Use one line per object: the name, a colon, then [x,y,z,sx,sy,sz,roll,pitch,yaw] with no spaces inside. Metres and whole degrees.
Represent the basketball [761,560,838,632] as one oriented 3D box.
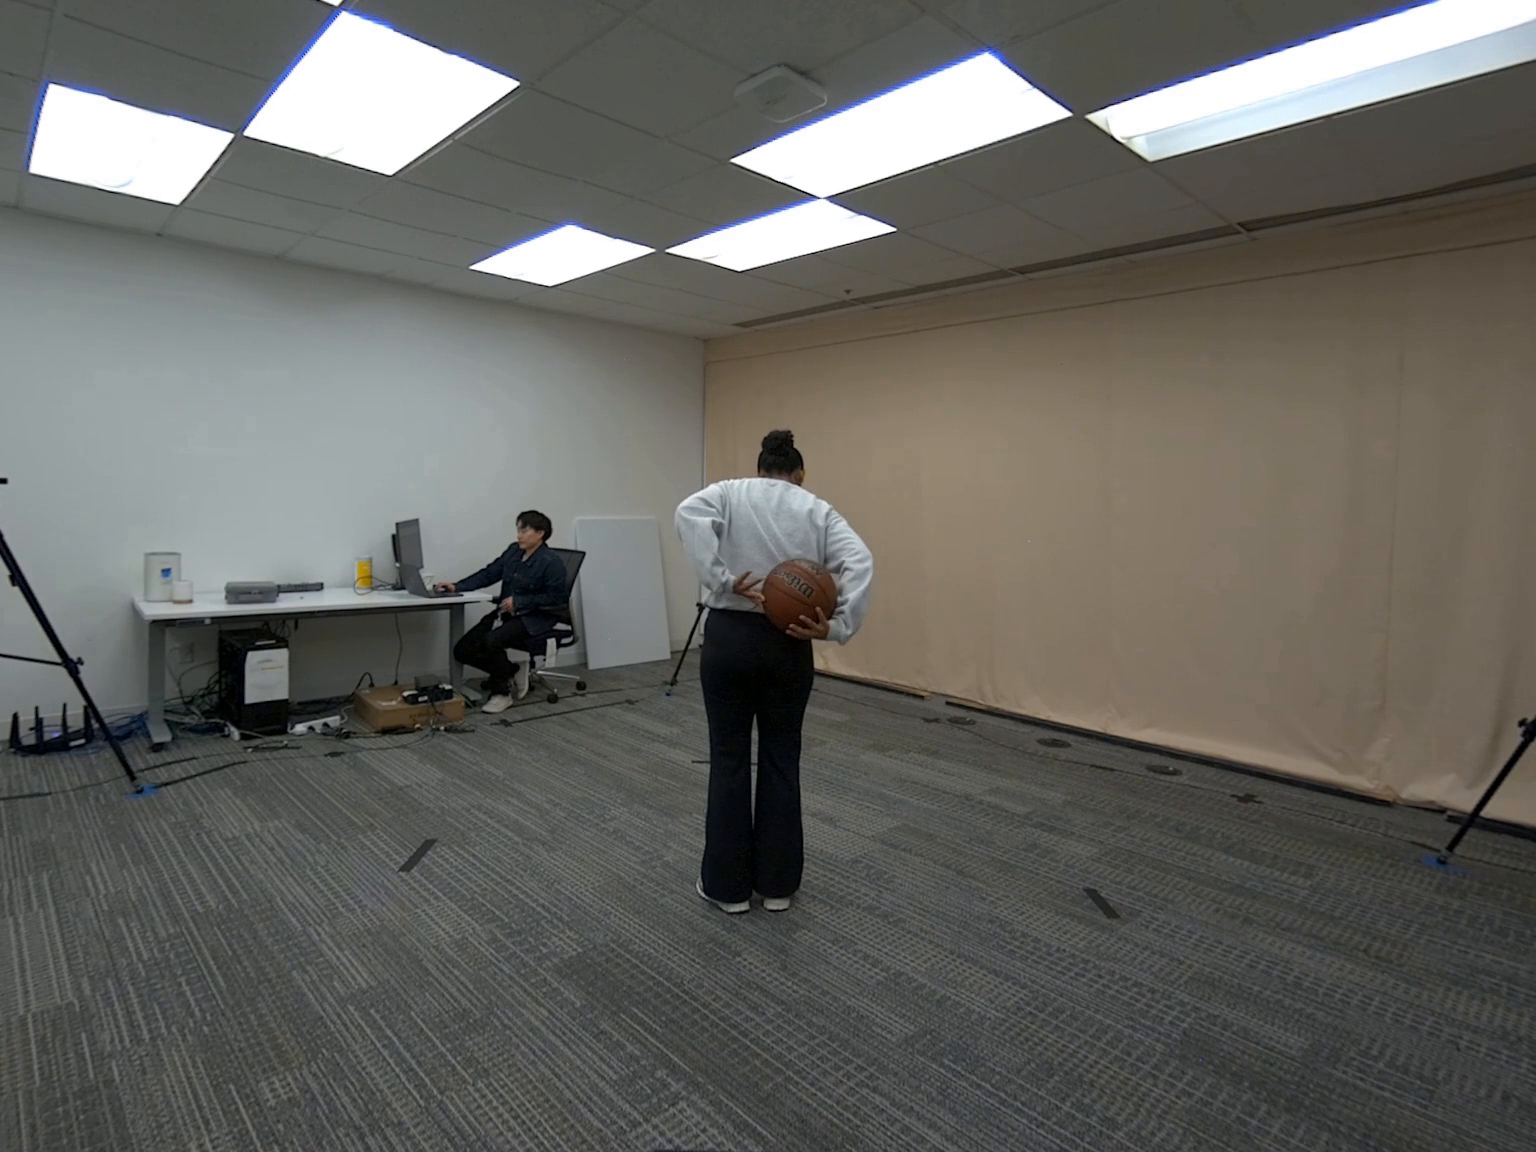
basketball: [0.081,0.060,2.672,0.236,0.235,0.237,1,4,-1]
